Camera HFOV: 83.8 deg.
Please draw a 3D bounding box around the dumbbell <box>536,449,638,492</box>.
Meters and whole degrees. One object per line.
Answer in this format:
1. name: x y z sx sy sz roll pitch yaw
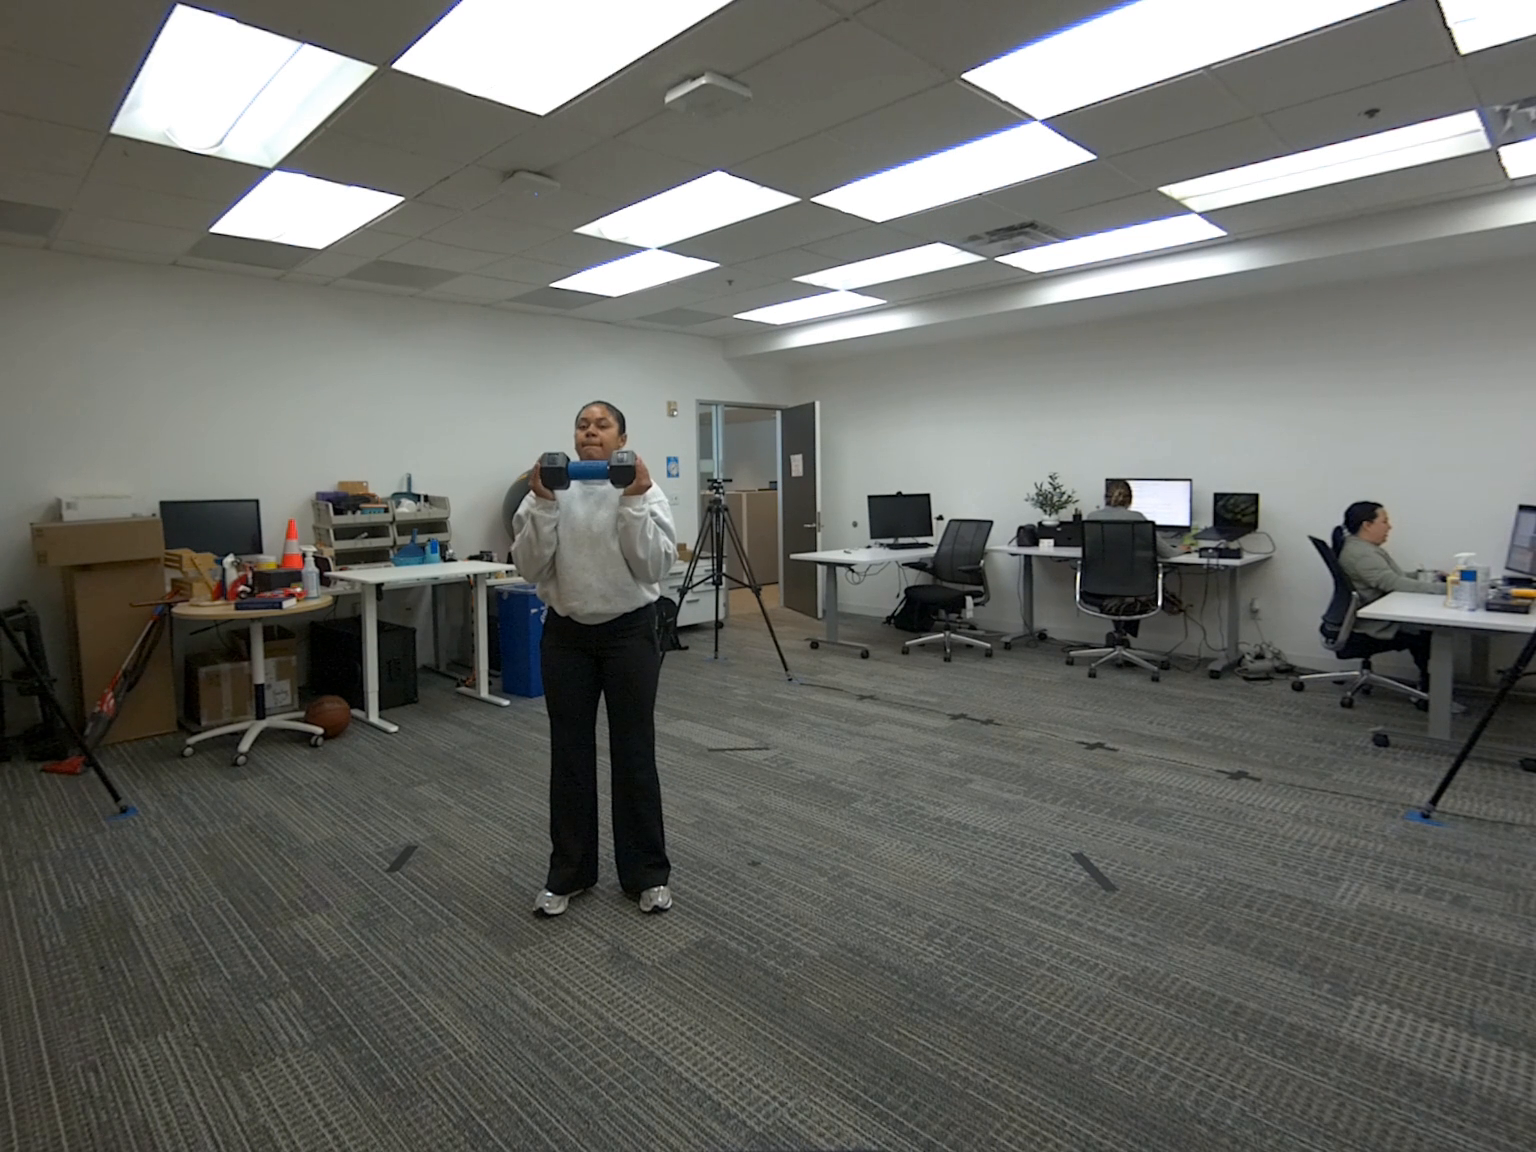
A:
1. dumbbell: -0.554 -0.317 2.628 0.294 0.126 0.105 -3 -37 1
